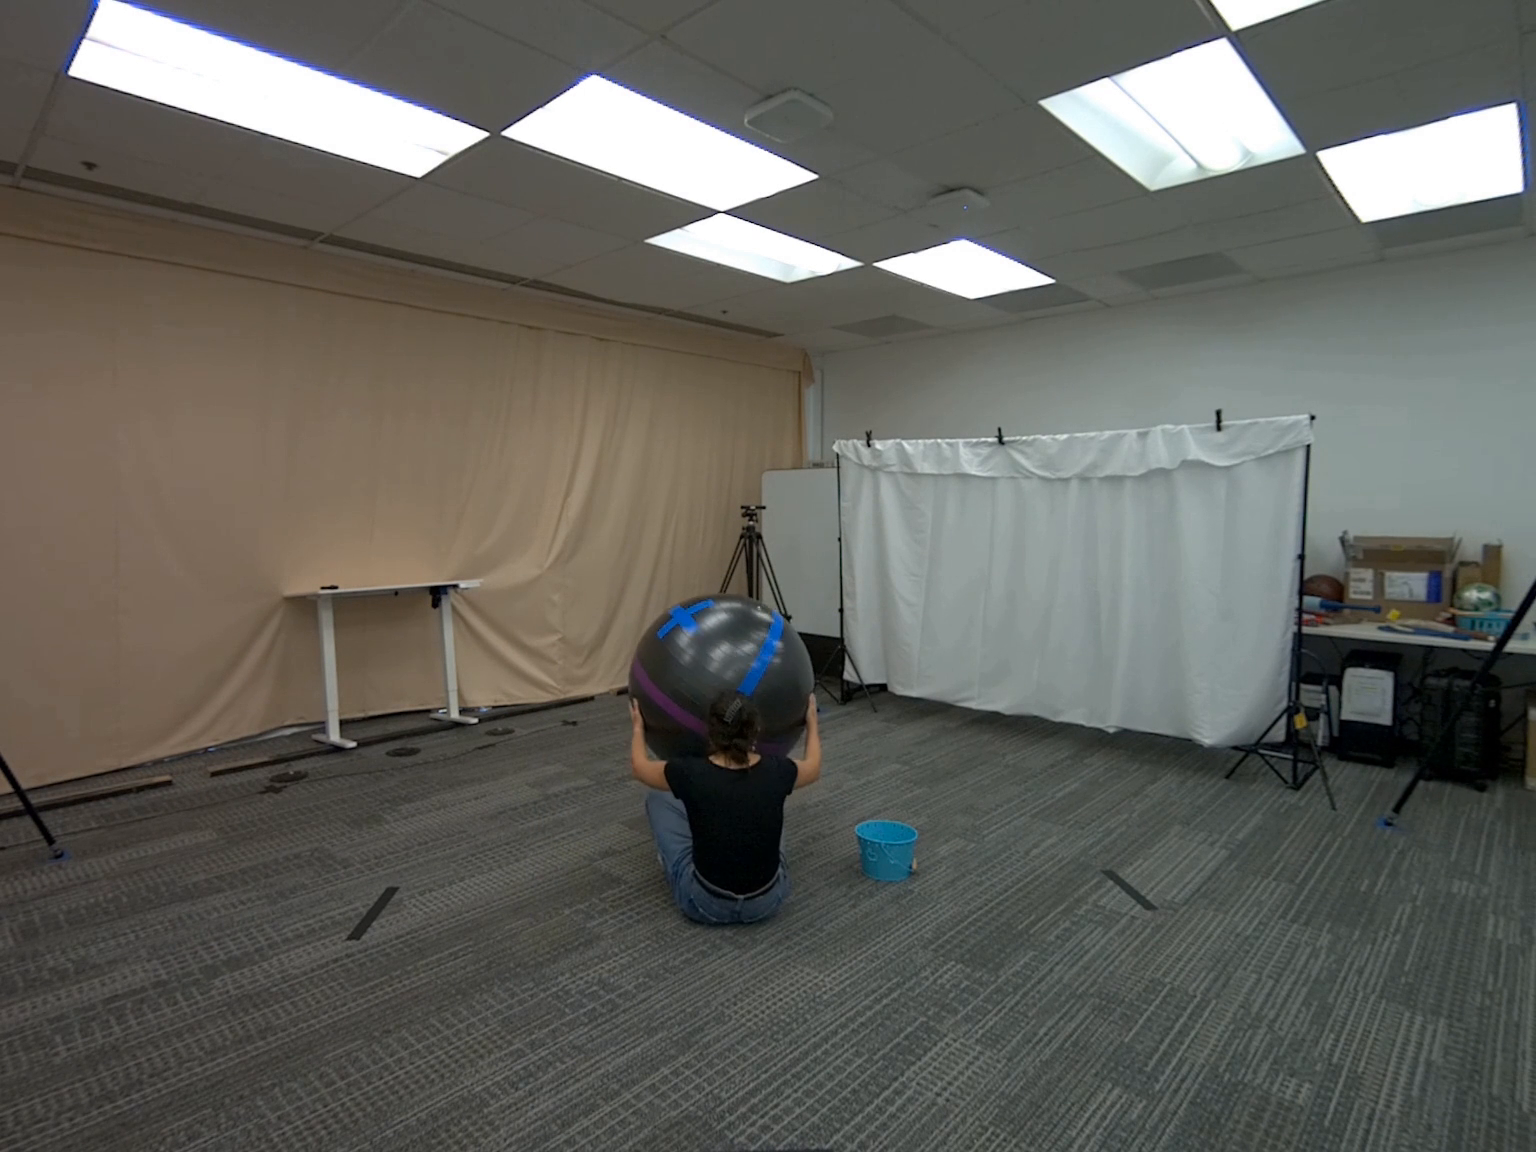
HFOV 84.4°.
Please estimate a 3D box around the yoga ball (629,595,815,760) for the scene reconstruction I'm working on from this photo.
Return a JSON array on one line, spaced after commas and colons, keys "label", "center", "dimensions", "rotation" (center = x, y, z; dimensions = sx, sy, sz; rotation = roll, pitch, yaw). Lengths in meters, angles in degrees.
[{"label": "yoga ball", "center": [-0.178, 0.455, 3.456], "dimensions": [0.757, 0.756, 0.760], "rotation": [0, 4, -2]}]
